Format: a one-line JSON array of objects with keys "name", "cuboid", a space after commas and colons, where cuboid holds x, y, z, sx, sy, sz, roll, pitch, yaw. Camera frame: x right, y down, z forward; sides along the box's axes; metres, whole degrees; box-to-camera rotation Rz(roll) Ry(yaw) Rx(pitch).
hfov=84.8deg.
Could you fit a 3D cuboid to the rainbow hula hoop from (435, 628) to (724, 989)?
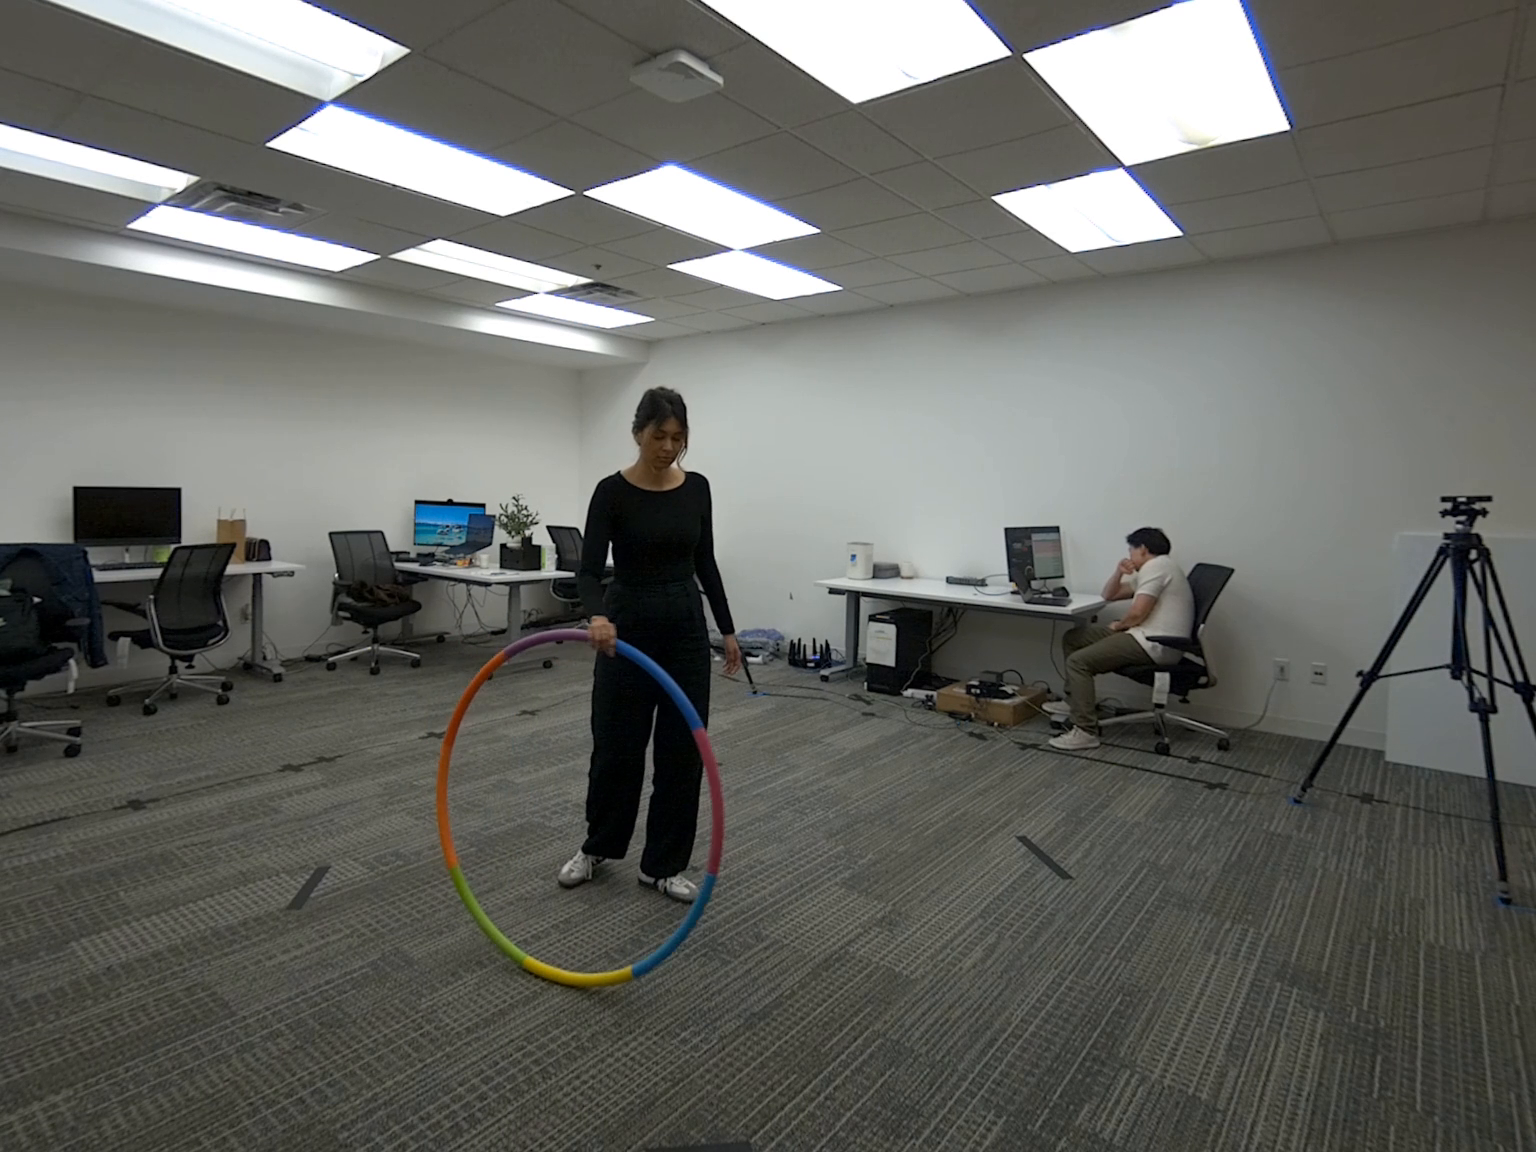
[{"name": "rainbow hula hoop", "cuboid": [-0.580, 0.639, 2.435, 1.005, 0.982, 0.034, 3, -4, 26]}]
